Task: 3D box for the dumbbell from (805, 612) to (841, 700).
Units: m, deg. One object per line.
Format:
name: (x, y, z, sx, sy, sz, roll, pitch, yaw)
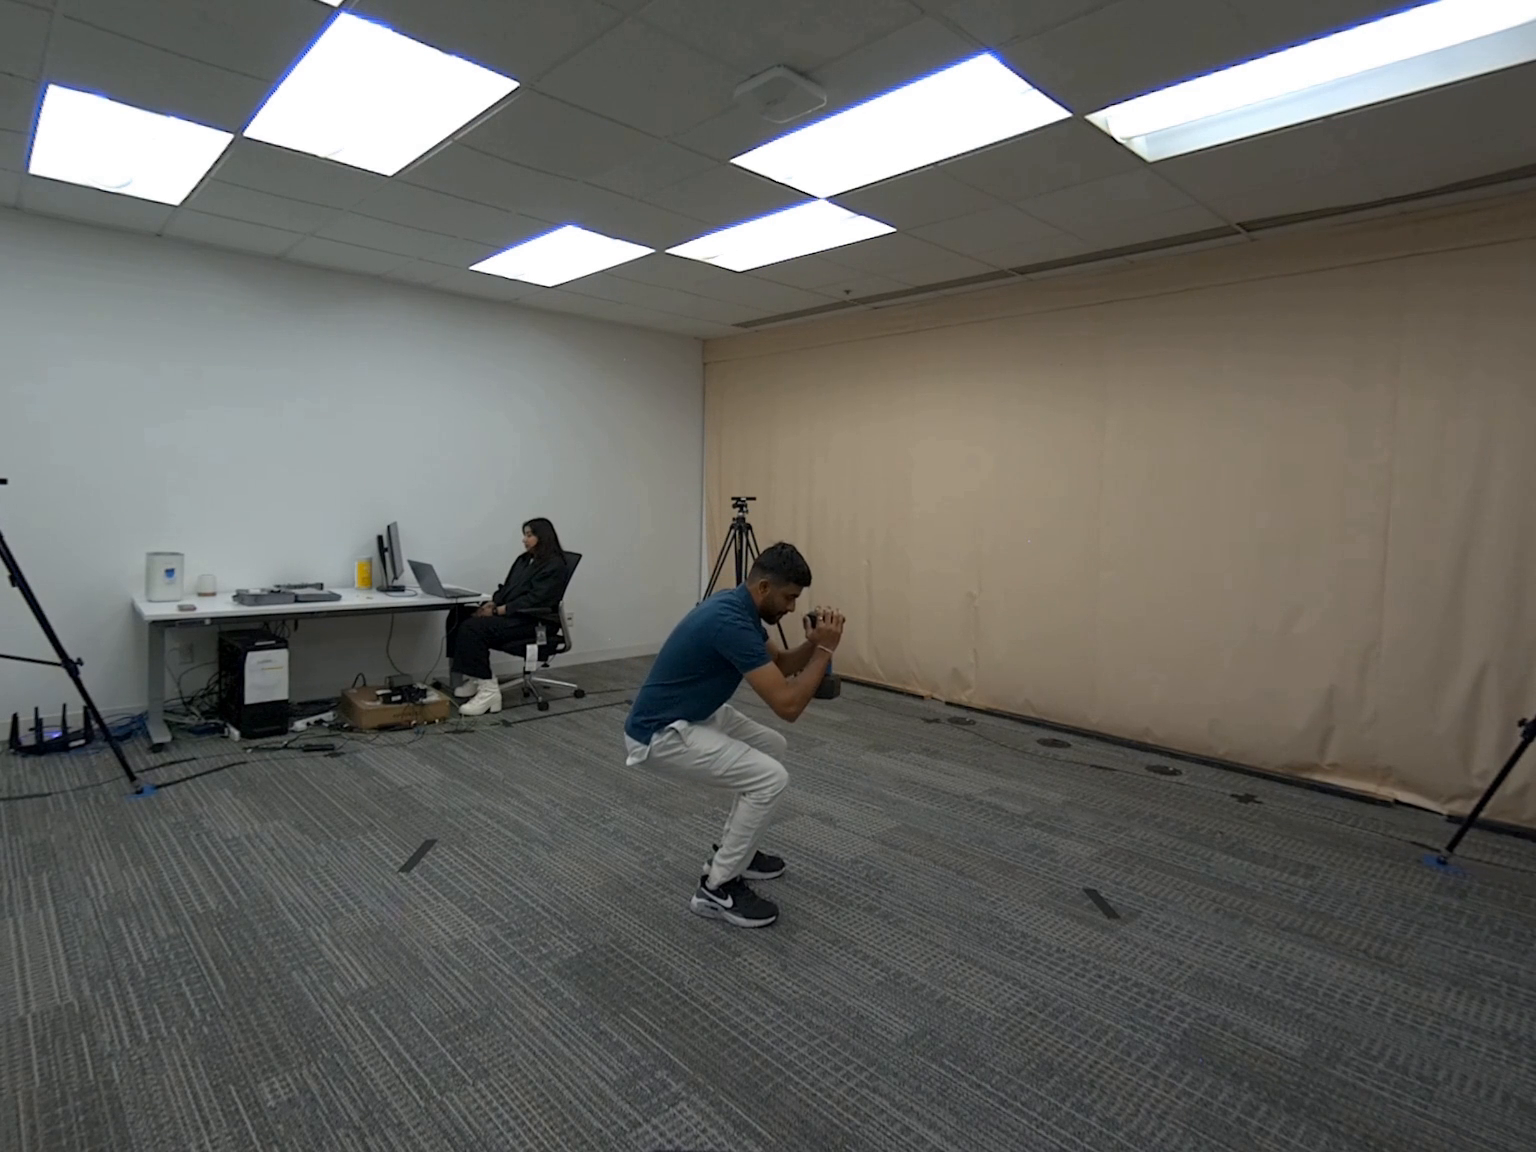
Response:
dumbbell: (0.180, 0.270, 2.867, 0.123, 0.293, 0.109, -1, 3, -2)
